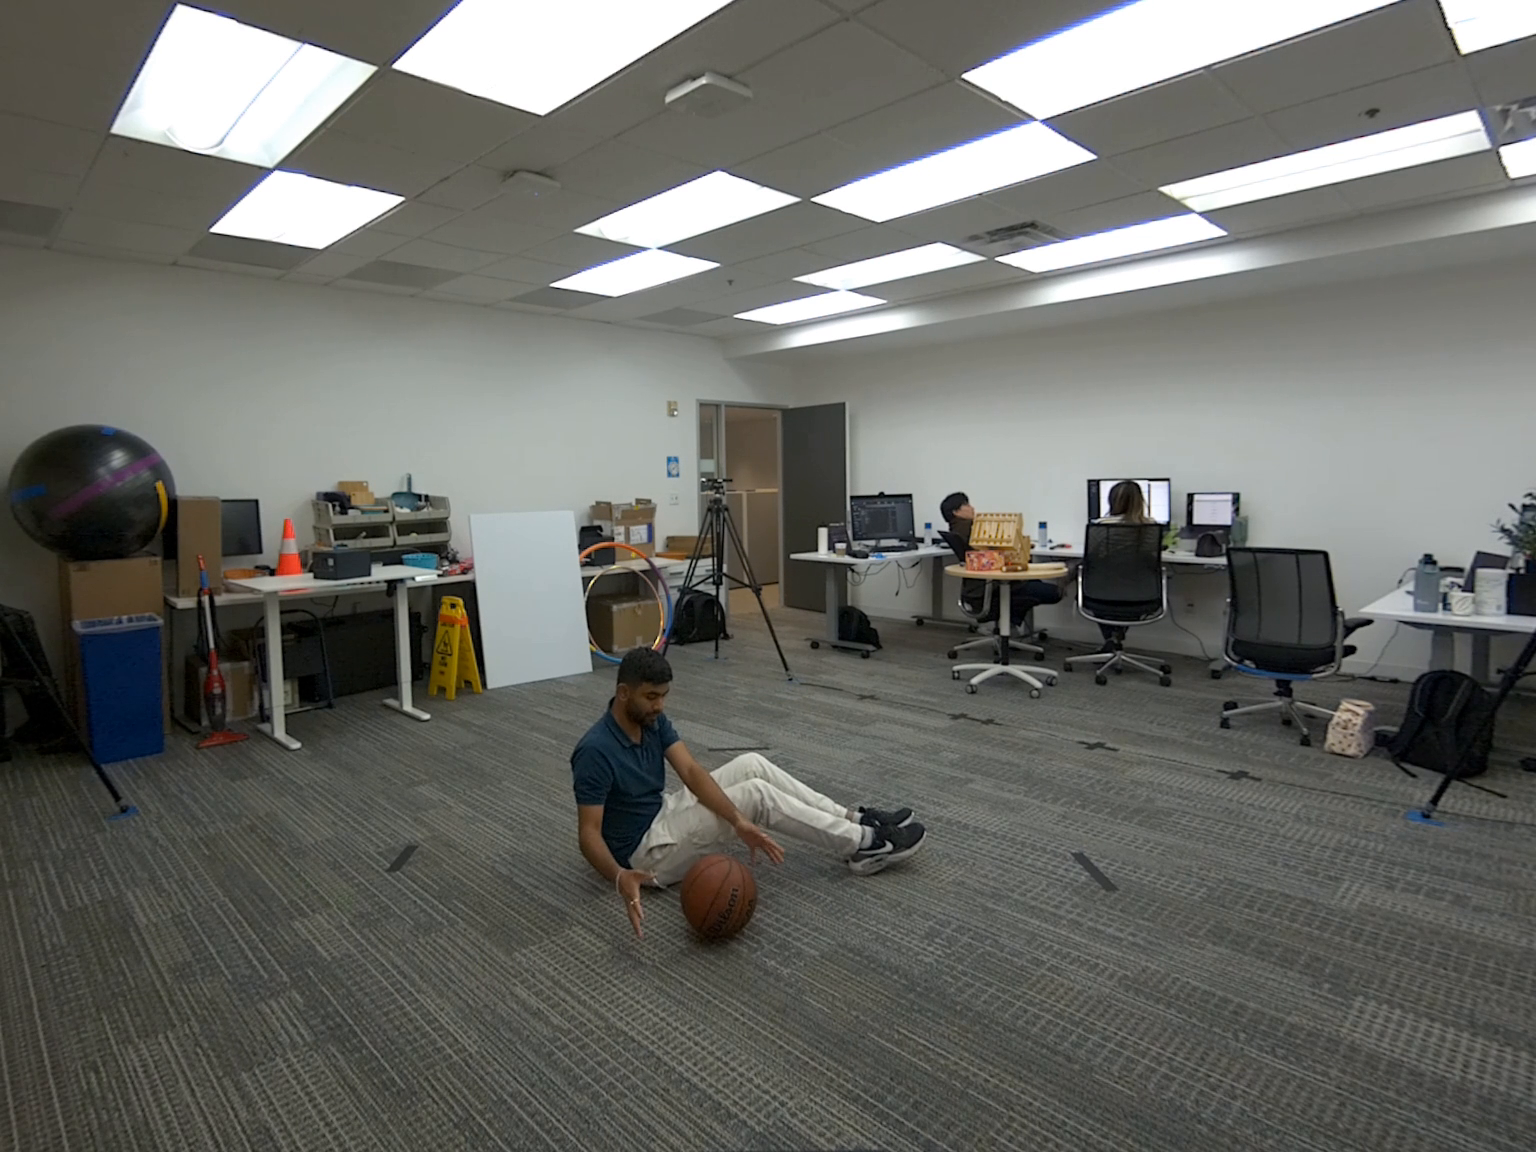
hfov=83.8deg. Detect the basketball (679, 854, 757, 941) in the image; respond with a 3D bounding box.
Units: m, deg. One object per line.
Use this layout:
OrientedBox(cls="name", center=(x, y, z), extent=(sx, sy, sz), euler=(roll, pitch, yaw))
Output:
OrientedBox(cls="basketball", center=(-0.151, 0.976, 2.631), extent=(0.236, 0.235, 0.237), euler=(-1, 5, -2))
